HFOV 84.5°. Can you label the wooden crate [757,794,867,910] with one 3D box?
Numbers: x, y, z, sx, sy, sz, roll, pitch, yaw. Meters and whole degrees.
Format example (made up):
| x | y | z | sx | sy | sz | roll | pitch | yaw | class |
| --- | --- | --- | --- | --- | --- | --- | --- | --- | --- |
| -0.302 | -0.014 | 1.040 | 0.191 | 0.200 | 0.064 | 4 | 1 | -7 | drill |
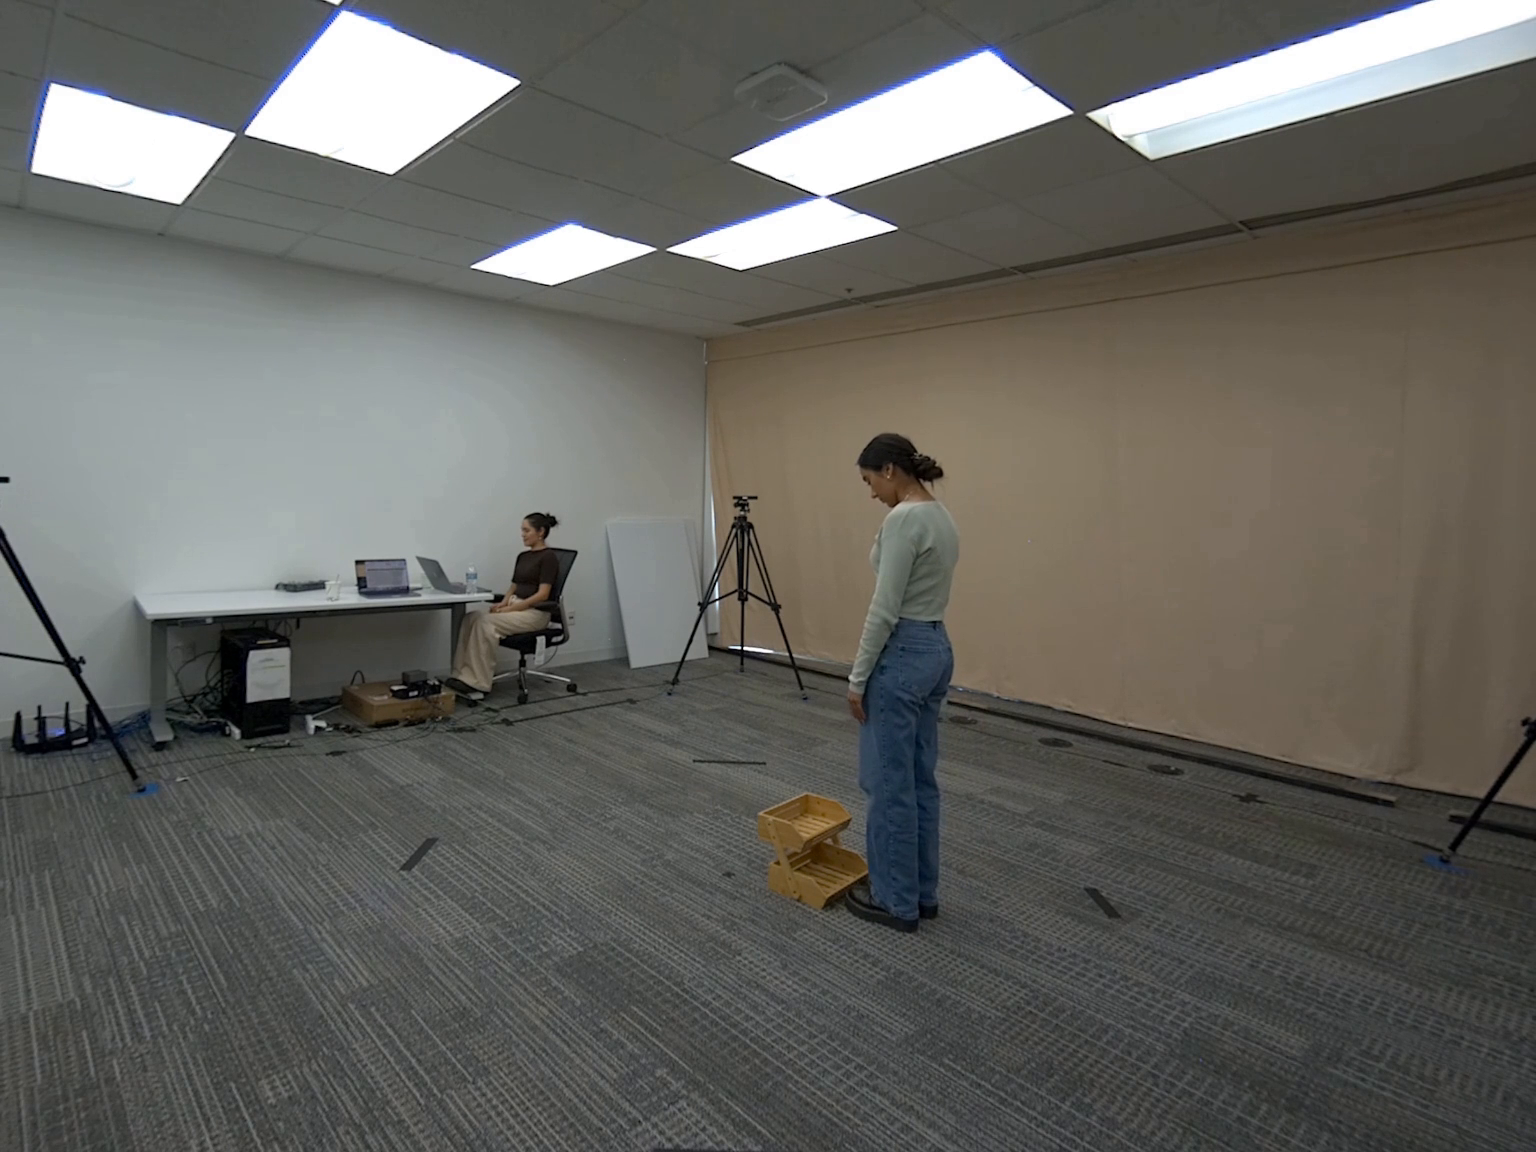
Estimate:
| x | y | z | sx | sy | sz | roll | pitch | yaw | class |
| --- | --- | --- | --- | --- | --- | --- | --- | --- | --- |
| 0.166 | 0.982 | 3.044 | 0.309 | 0.272 | 0.317 | 4 | 5 | 39 | wooden crate |
